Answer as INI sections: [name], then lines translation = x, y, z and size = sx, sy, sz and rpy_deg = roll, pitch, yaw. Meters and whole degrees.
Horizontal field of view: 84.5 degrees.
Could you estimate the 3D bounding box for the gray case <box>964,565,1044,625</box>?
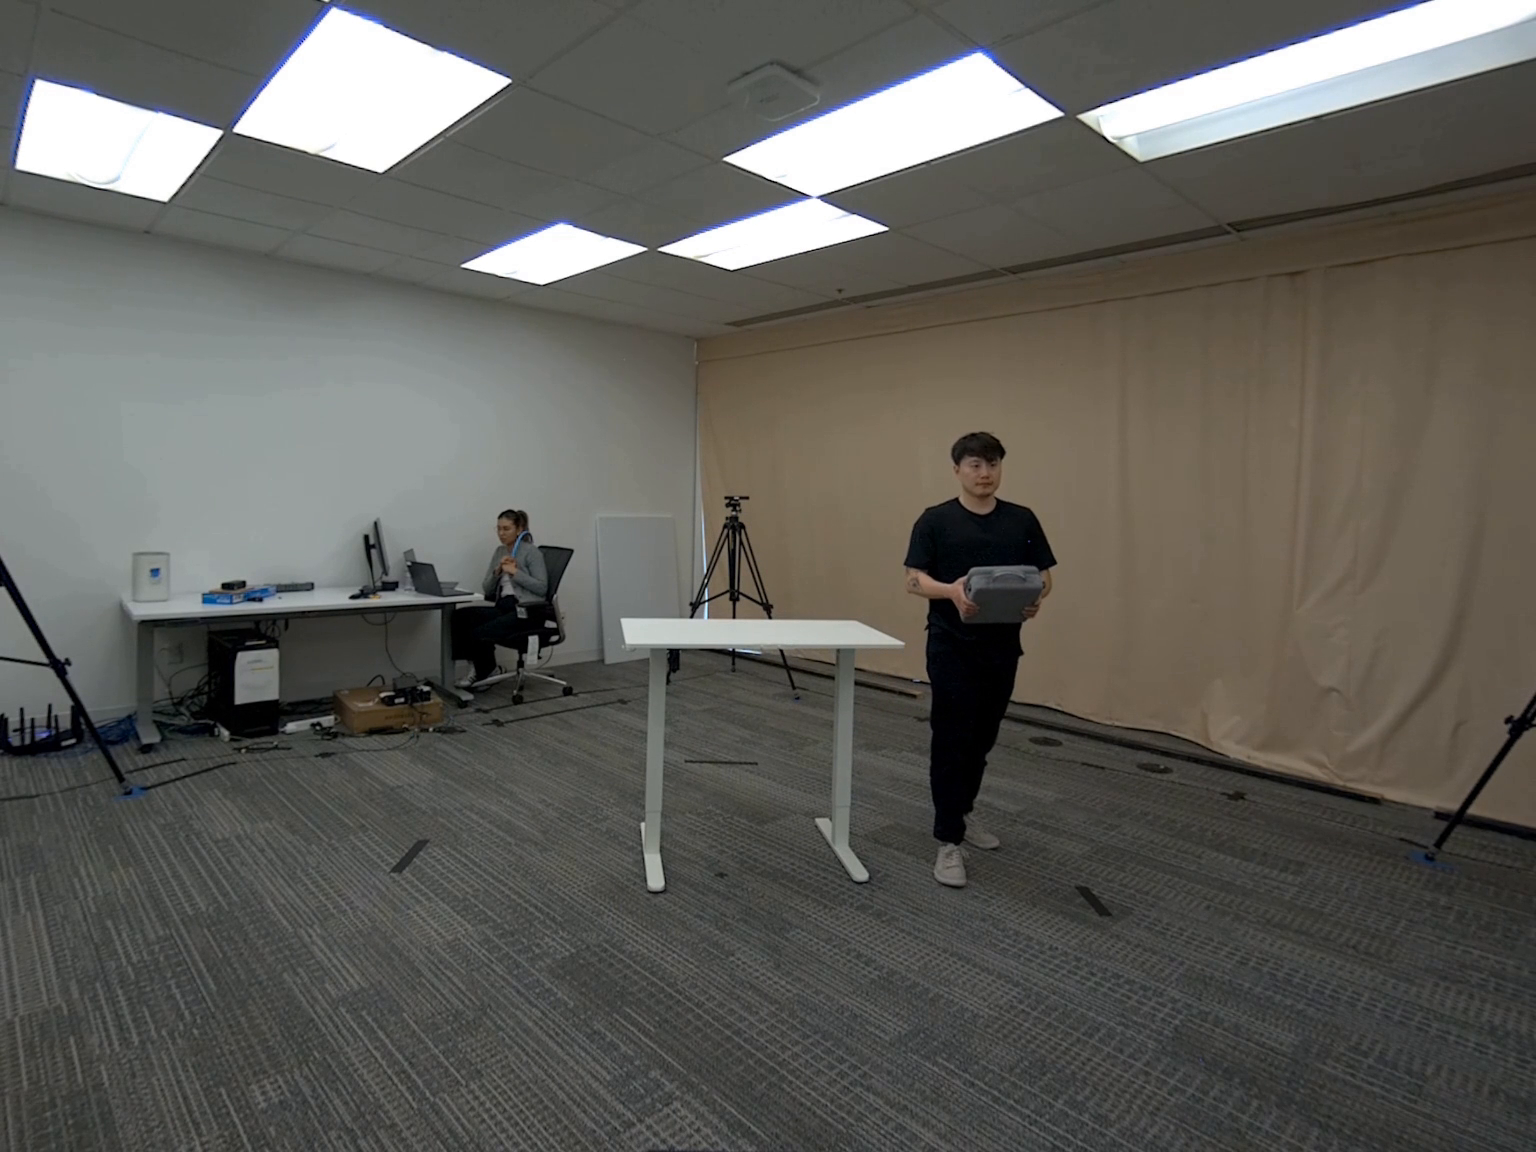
[gray case]
translation = 0.836, 0.064, 3.043
size = 0.257, 0.106, 0.255
rpy_deg = 0, -34, 1
